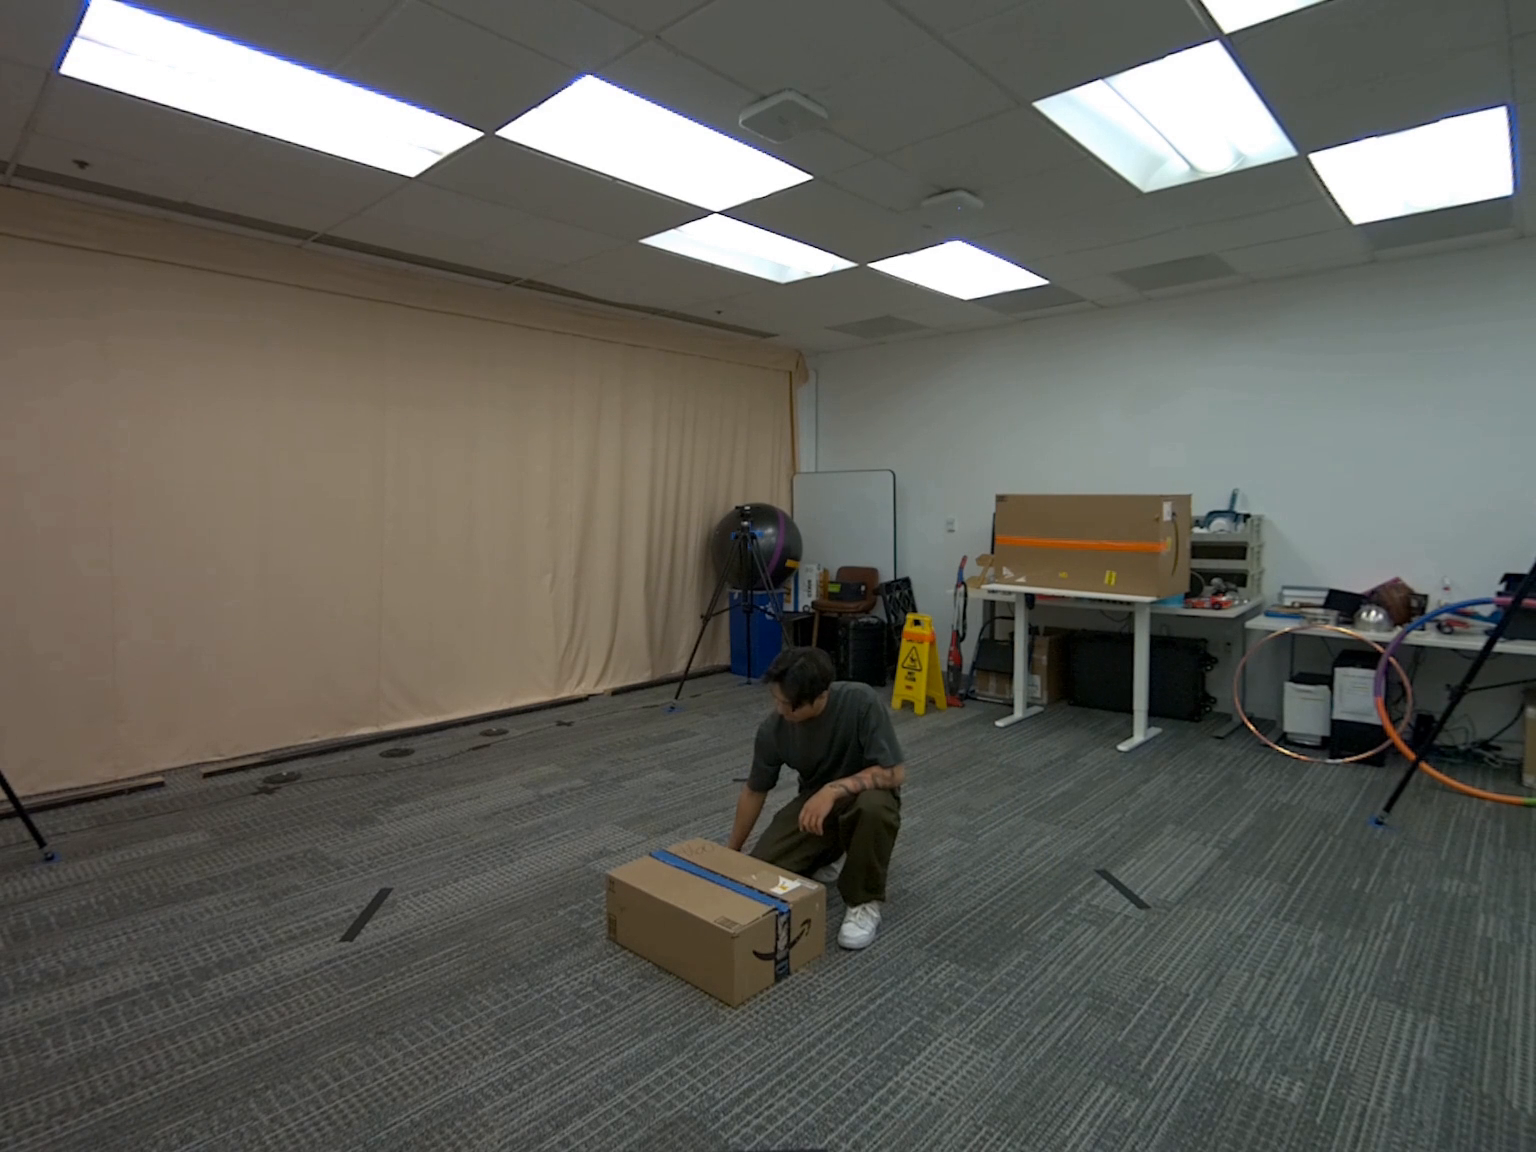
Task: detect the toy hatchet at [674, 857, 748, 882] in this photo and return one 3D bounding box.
[{"bbox_3d":[-0.218,1.118,3.232,0.271,0.029,0.131,1,3,2],"label":"toy hatchet"}]
